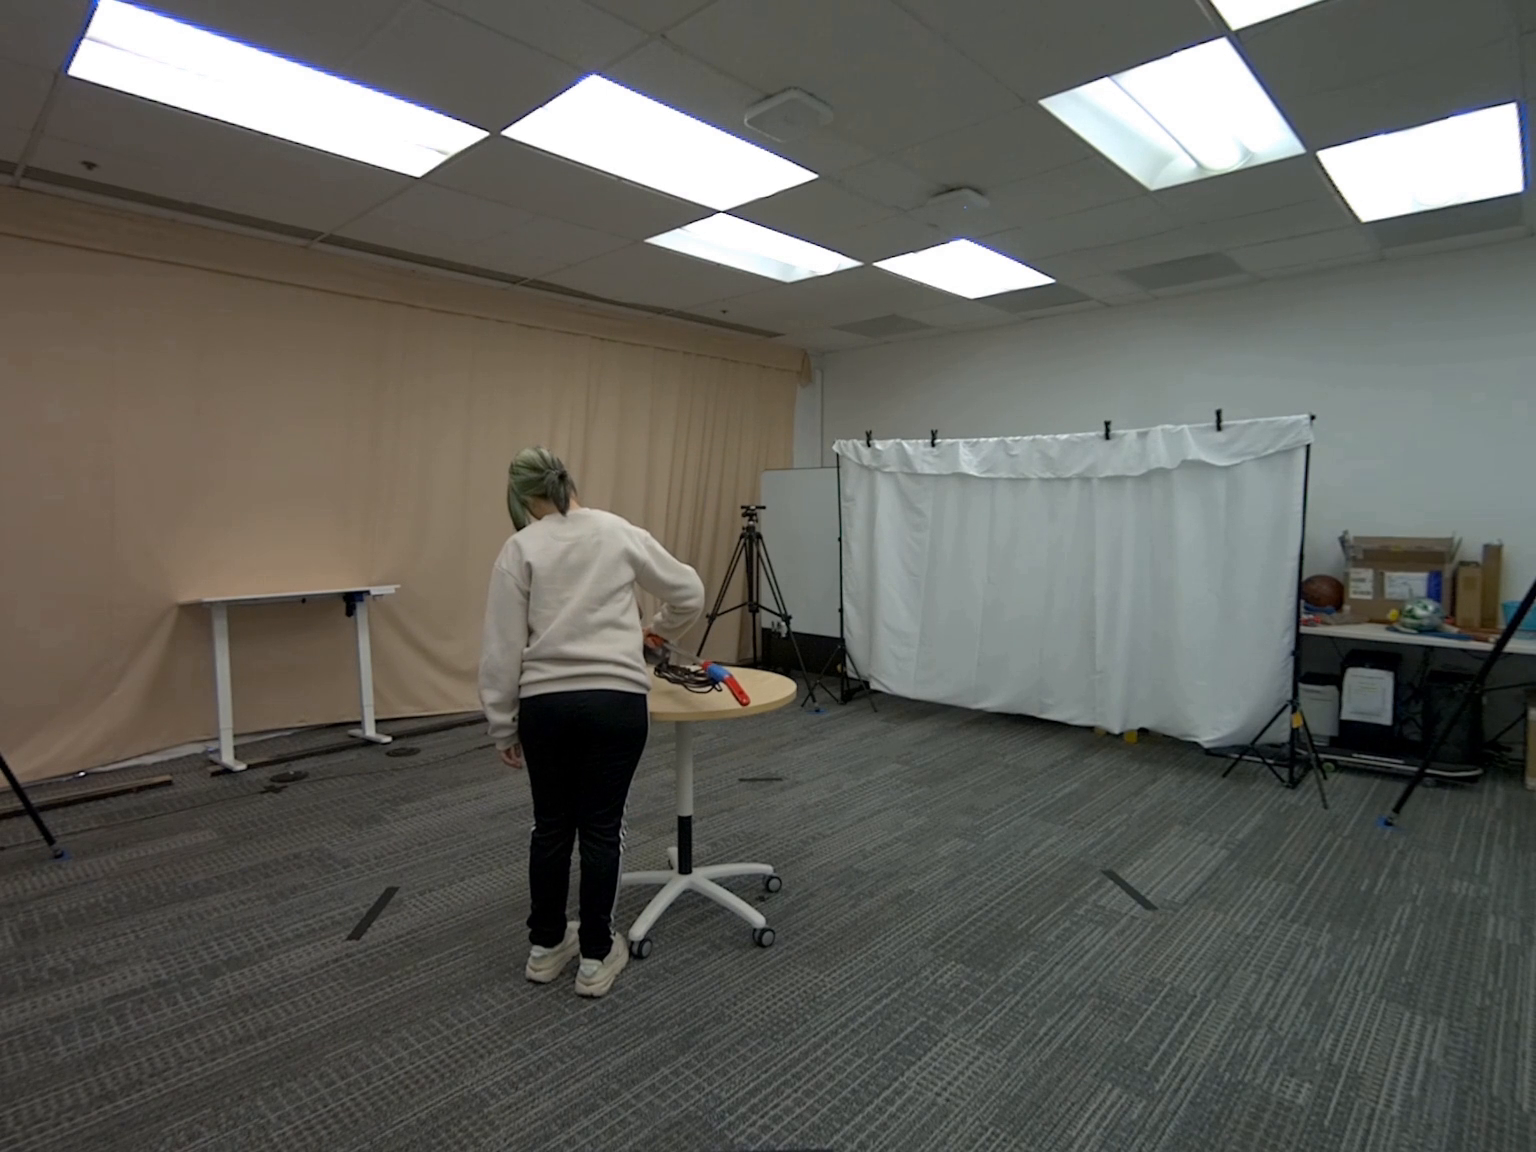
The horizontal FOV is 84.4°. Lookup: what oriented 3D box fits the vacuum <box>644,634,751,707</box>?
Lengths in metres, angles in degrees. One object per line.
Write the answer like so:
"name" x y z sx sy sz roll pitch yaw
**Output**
"vacuum" -0.326 0.280 2.721 0.247 0.143 1.080 -10 12 -26
